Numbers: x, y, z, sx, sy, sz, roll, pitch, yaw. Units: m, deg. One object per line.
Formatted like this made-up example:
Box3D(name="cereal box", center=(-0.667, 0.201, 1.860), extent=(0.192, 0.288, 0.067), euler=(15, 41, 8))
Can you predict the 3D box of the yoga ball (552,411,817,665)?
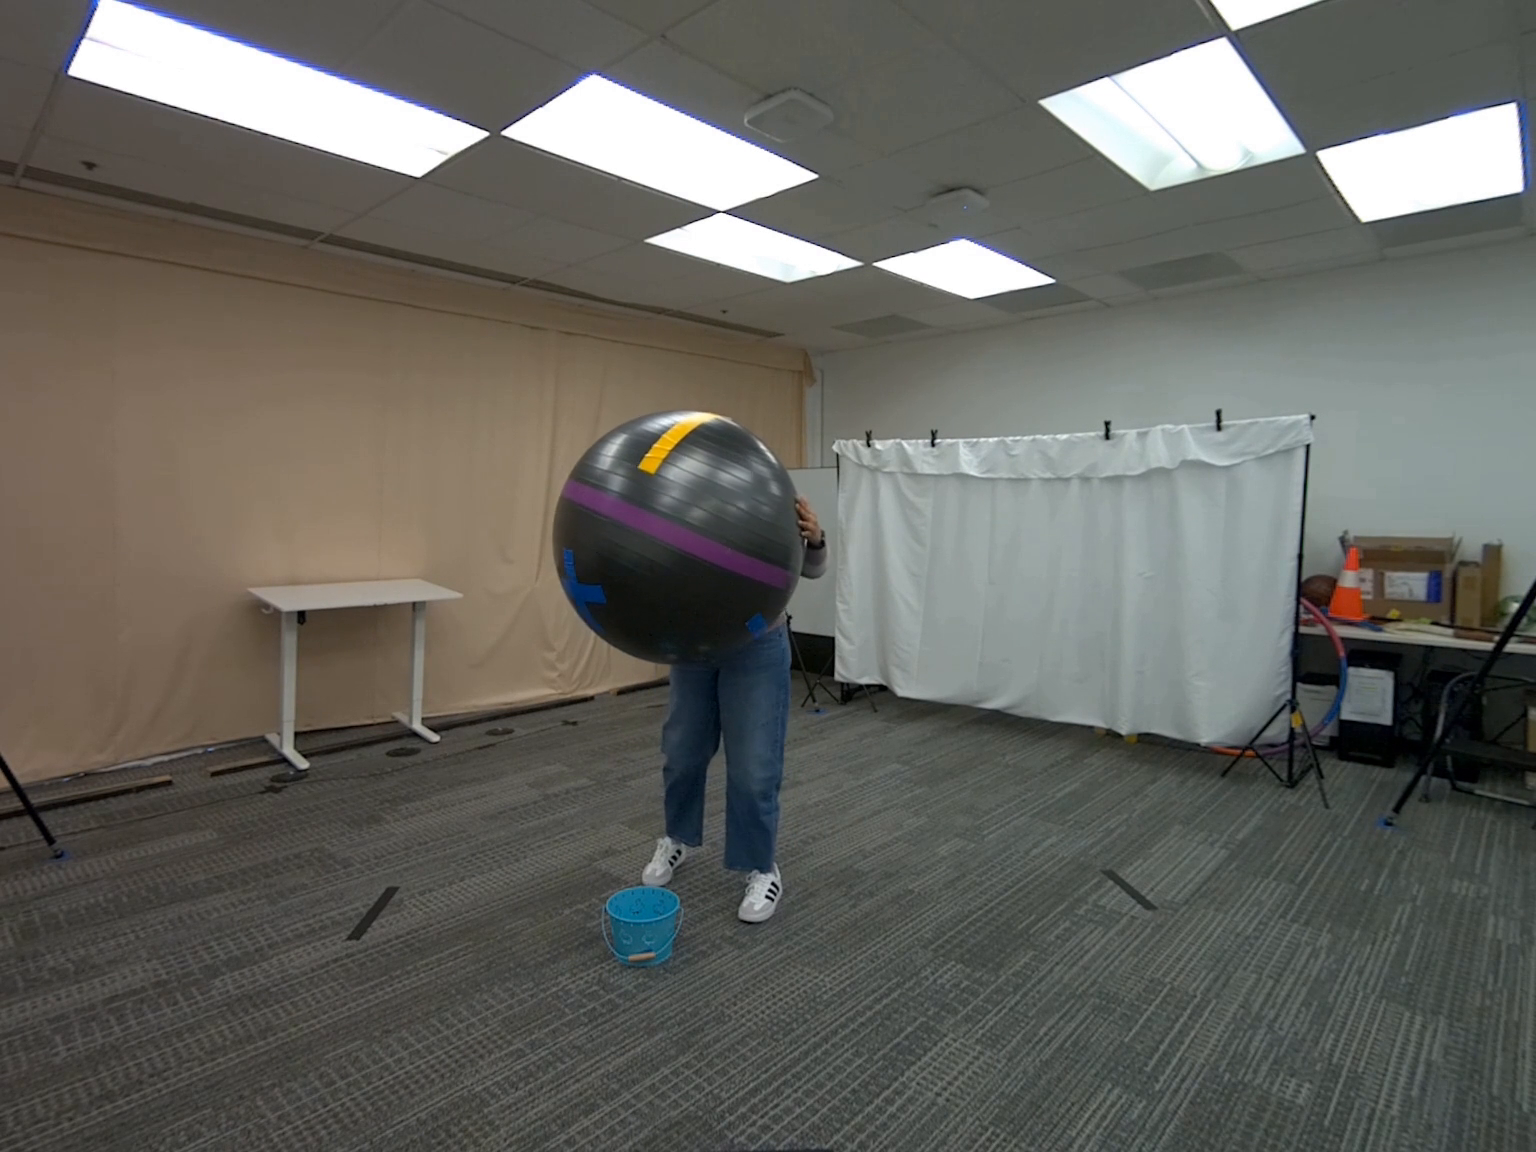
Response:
Box3D(name="yoga ball", center=(-0.278, -0.111, 2.534), extent=(0.757, 0.756, 0.761), euler=(0, 4, -2))
